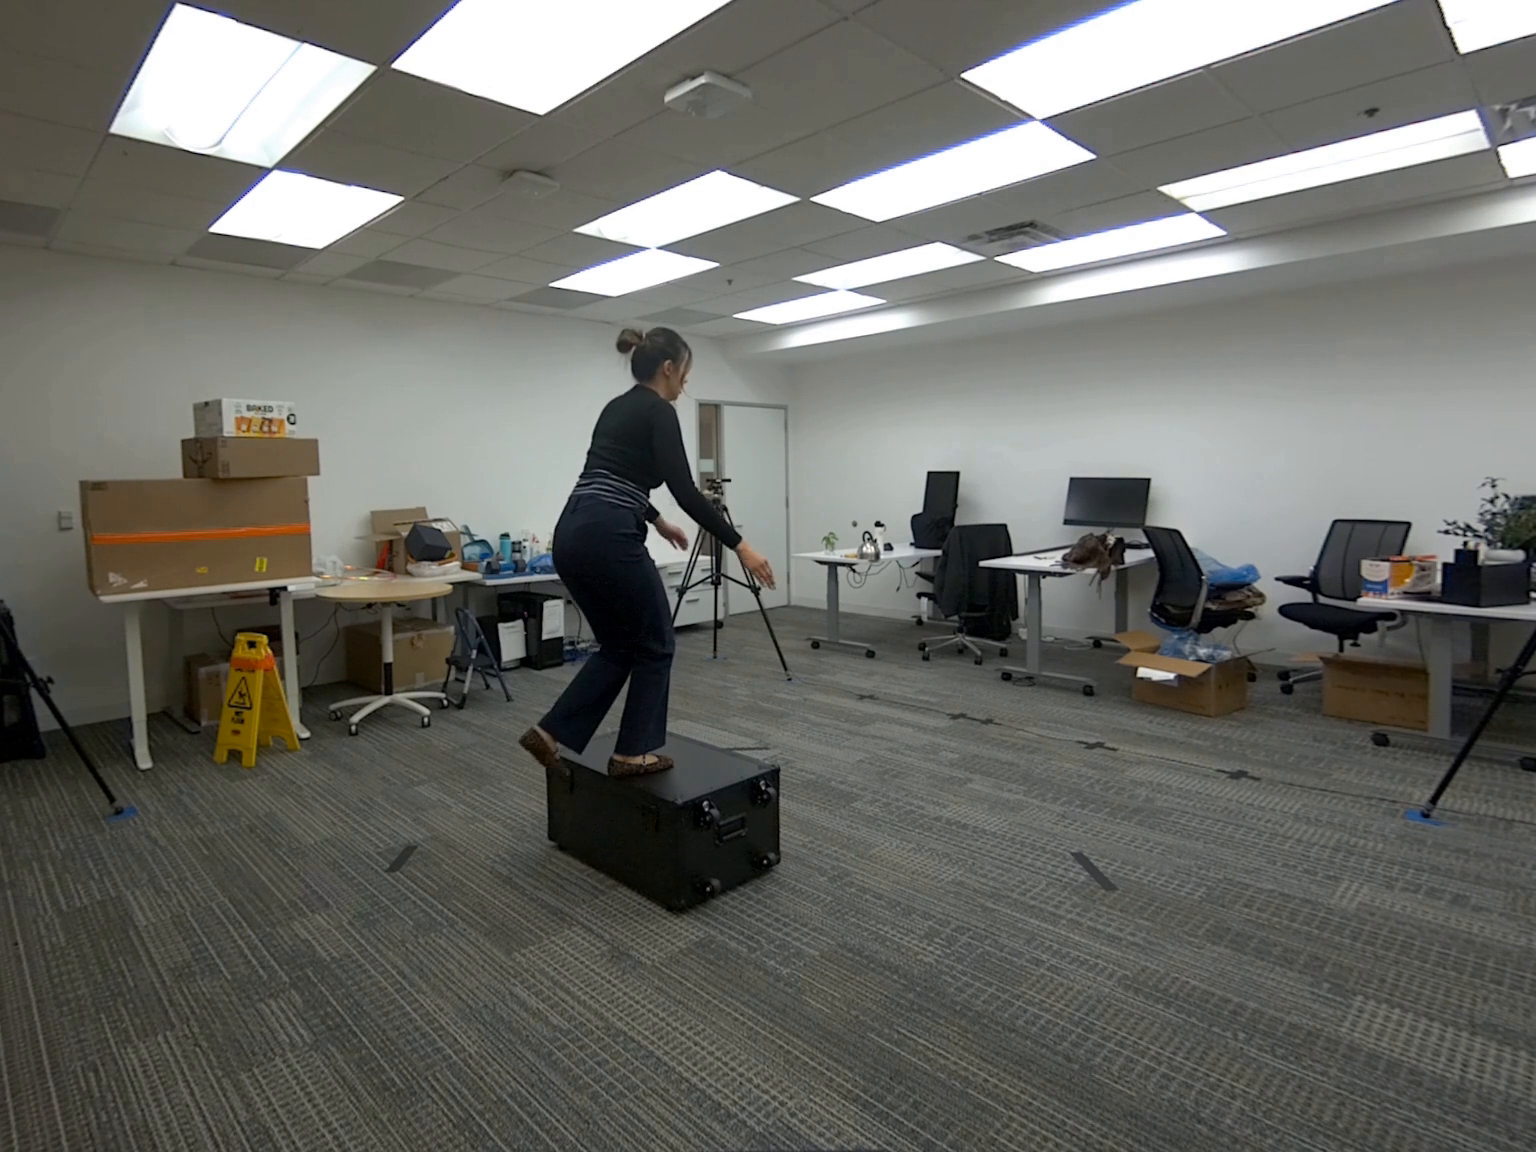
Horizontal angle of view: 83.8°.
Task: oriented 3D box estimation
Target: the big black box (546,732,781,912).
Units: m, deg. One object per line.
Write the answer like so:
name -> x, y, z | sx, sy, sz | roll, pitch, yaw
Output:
big black box -> -0.418, 0.853, 3.184 | 0.507, 0.394, 0.888 | -6, 8, -44
